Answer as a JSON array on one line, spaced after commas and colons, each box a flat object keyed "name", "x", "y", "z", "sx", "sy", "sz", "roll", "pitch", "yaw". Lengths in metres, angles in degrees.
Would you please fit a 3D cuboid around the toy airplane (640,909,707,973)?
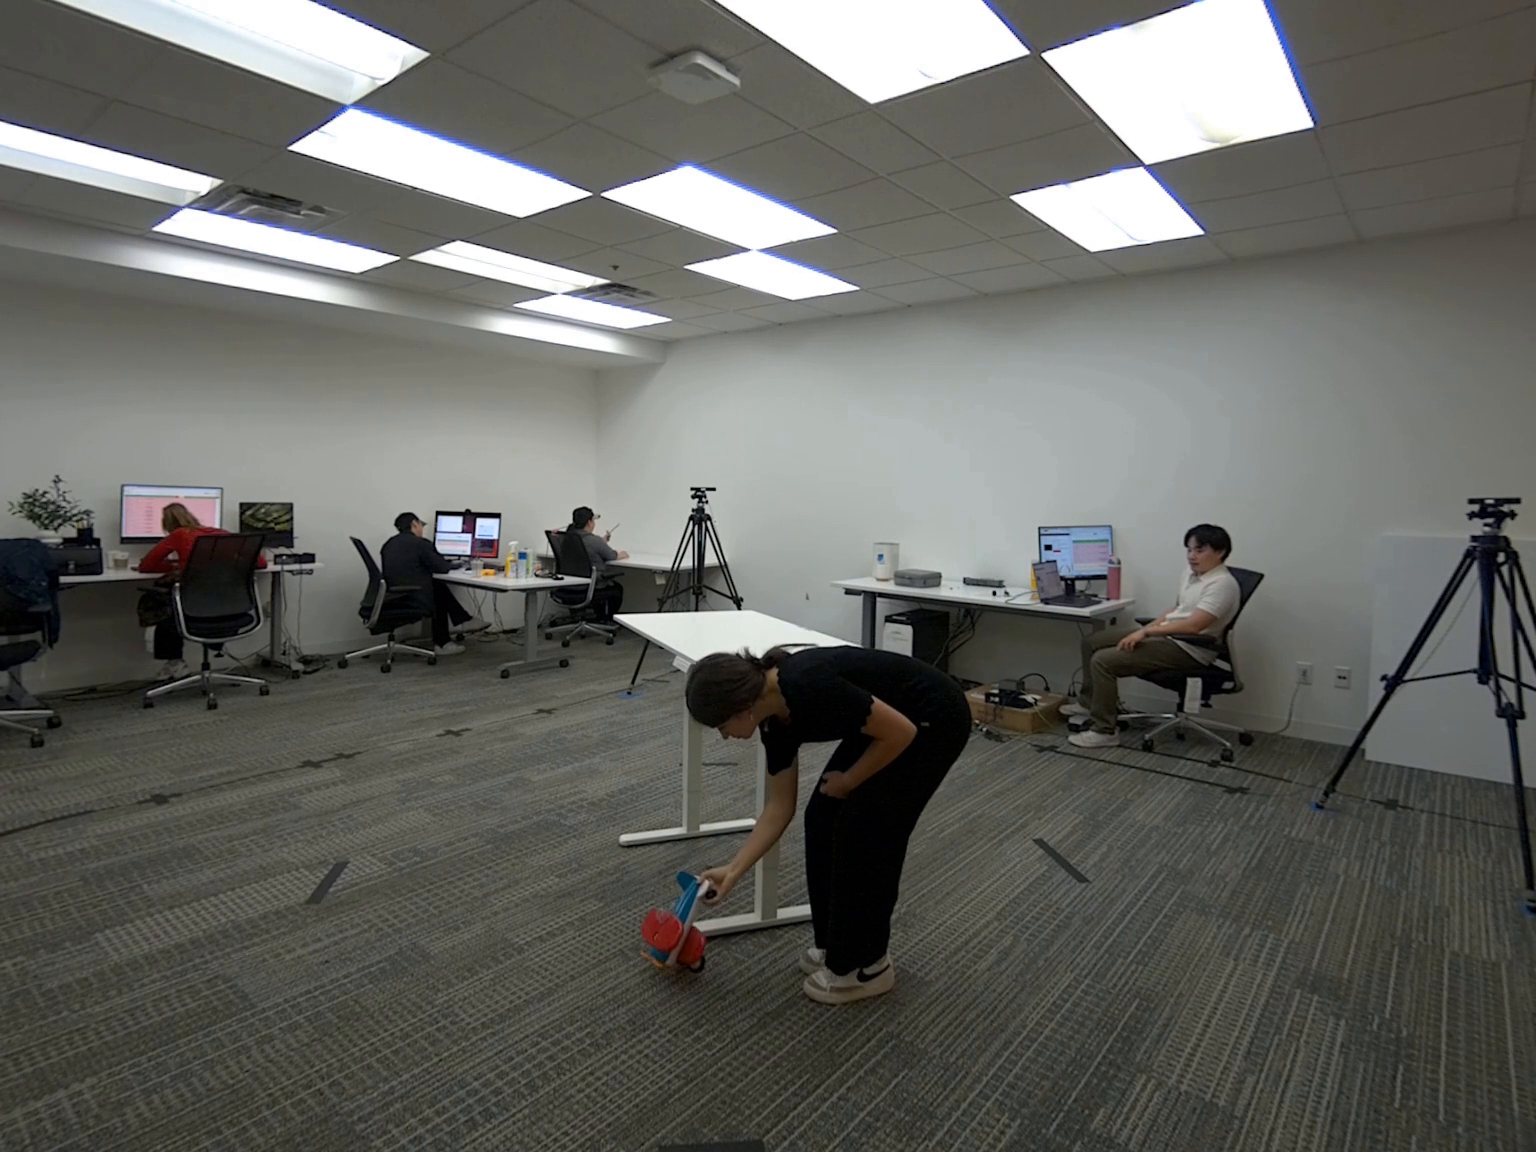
[{"name": "toy airplane", "x": -0.257, "y": 0.994, "z": 2.454, "sx": 0.152, "sy": 0.267, "sz": 0.251, "roll": 22, "pitch": -48, "yaw": -24}]
